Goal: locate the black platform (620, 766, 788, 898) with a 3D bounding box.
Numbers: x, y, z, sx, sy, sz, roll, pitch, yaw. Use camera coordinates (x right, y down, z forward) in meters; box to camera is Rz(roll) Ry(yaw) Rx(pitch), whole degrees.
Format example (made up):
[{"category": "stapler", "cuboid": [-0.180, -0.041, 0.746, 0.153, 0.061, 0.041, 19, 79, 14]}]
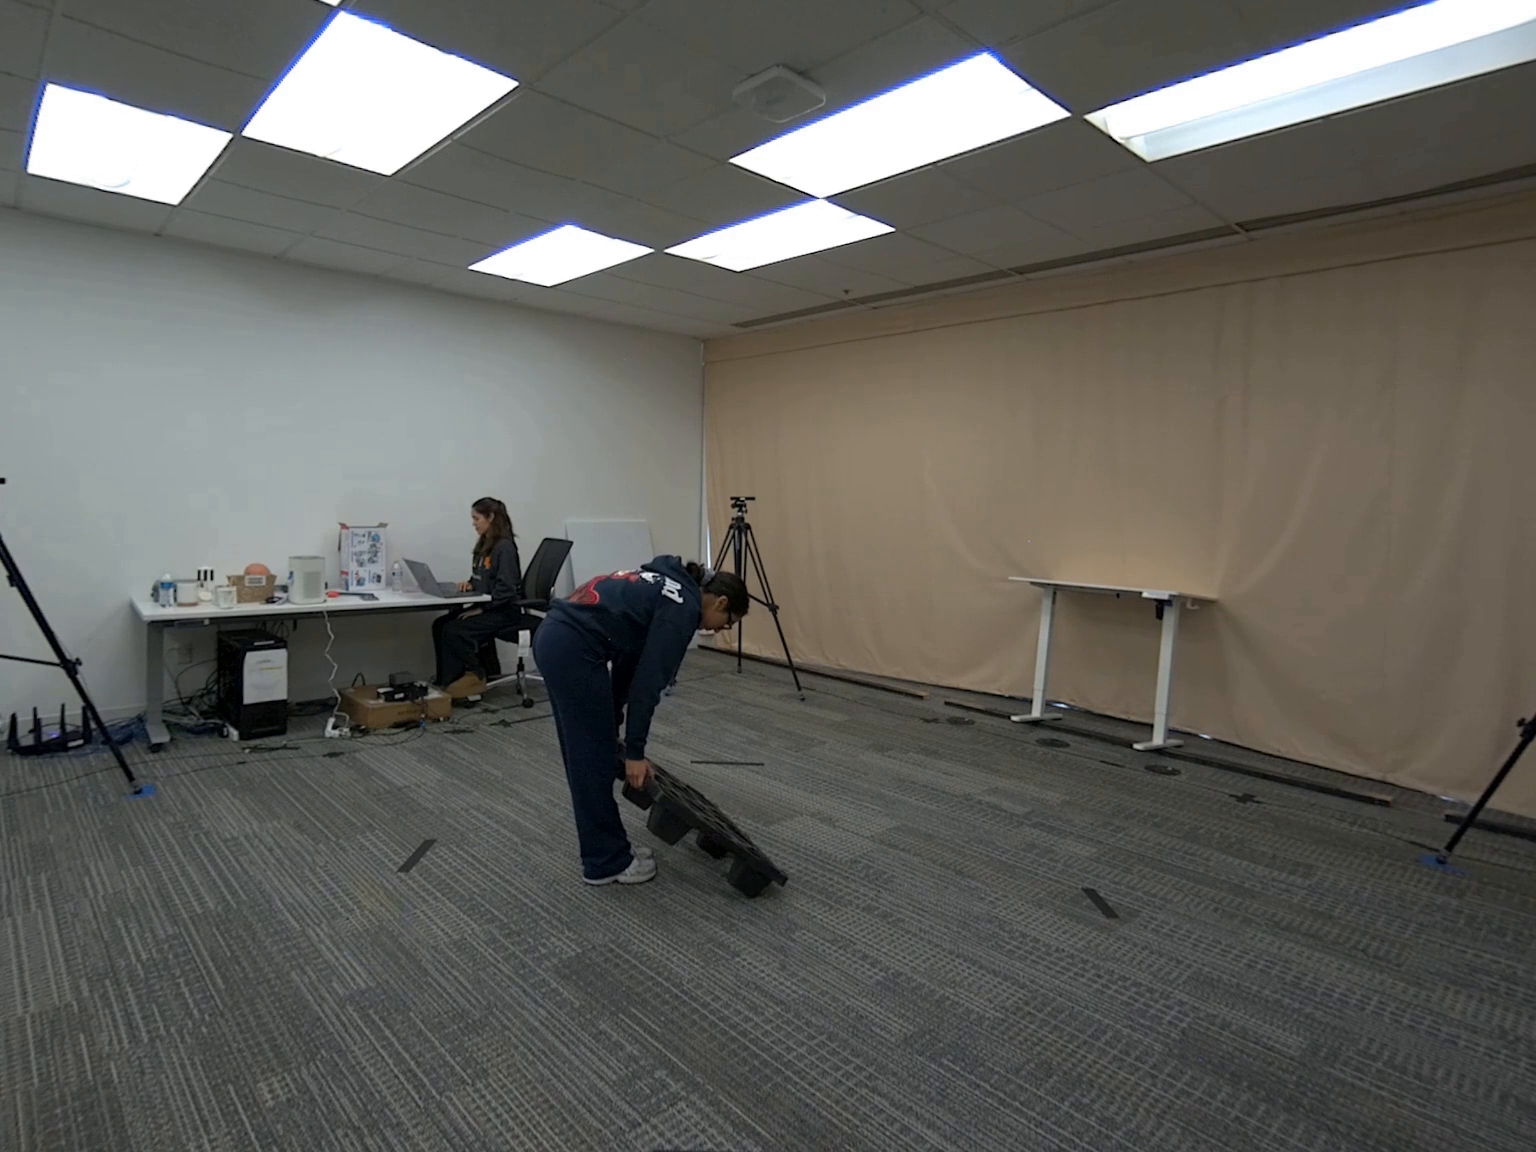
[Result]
[{"category": "black platform", "cuboid": [-0.339, 0.899, 3.198, 0.593, 0.143, 0.821, 42, -11, -20]}]
